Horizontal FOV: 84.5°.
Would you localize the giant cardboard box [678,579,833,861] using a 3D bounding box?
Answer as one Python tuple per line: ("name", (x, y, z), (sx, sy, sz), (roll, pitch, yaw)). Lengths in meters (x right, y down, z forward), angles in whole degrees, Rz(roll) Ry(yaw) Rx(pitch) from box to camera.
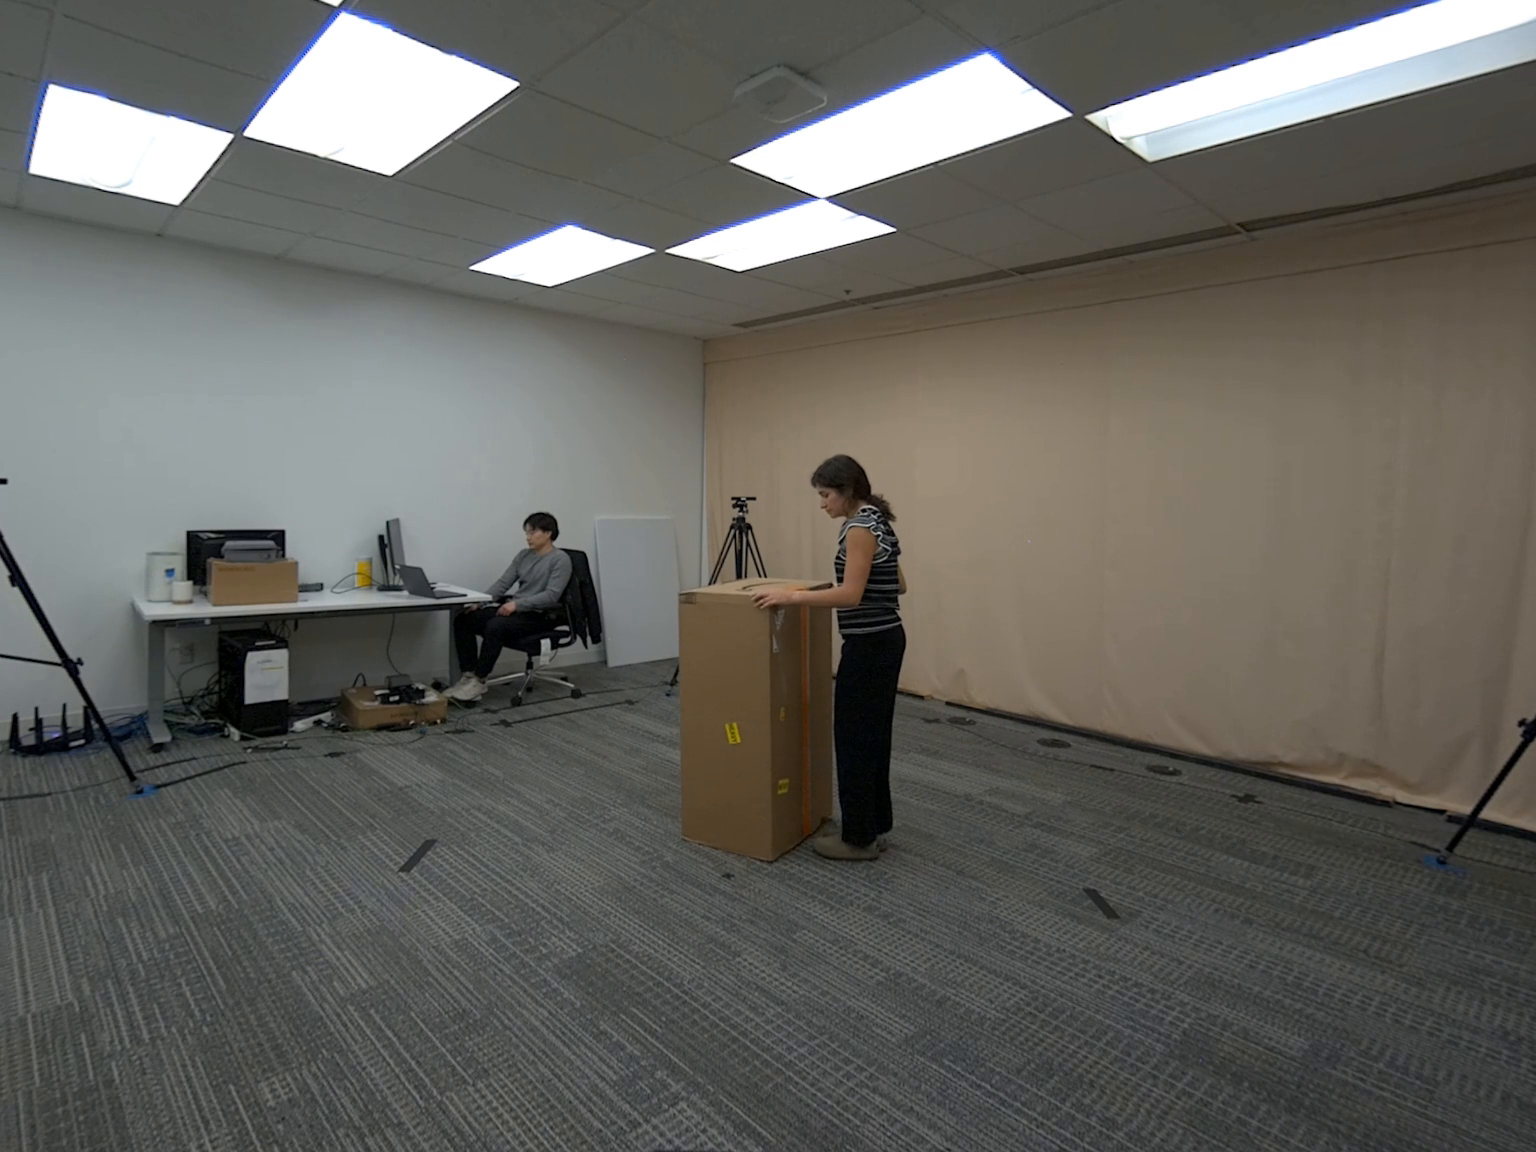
("giant cardboard box", (-0.043, 0.557, 3.534), (0.435, 1.023, 0.567), (1, 4, 30))
